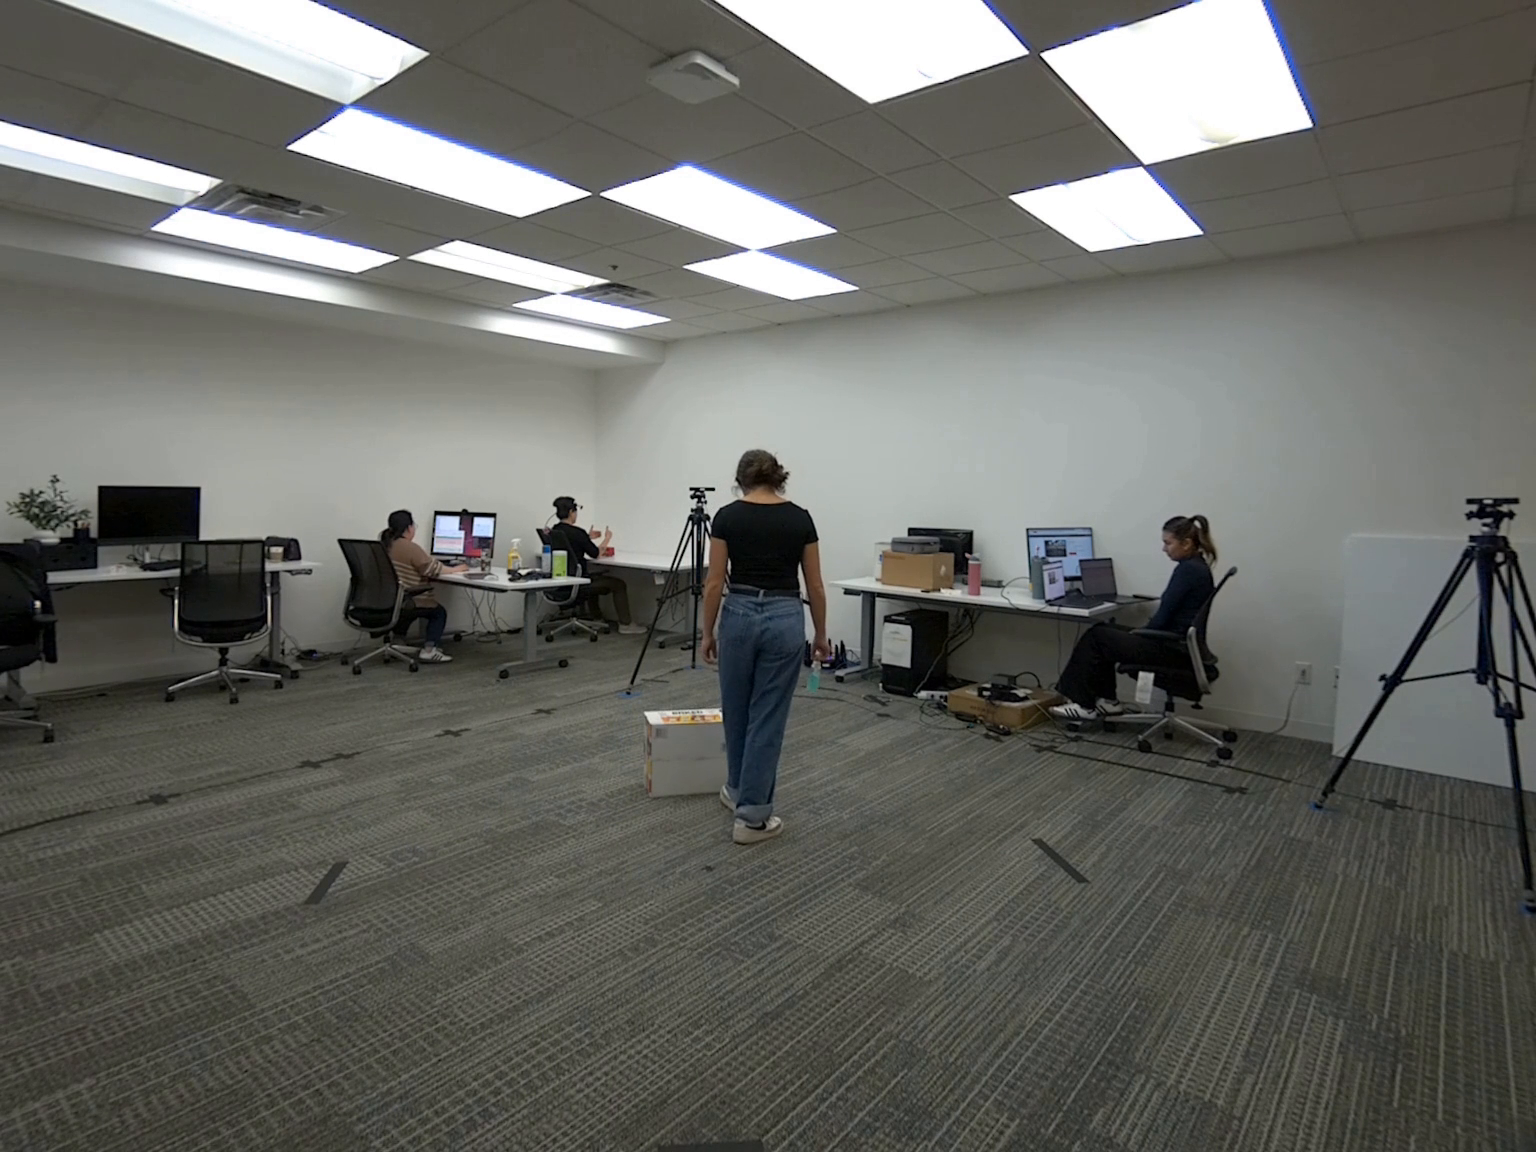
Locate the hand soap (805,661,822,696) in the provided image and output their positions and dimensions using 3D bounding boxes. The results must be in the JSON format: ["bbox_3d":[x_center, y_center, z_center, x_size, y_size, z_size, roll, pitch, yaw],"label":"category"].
[{"bbox_3d":[0.191,0.402,3.600,0.043,0.167,0.086,1,10,-9],"label":"hand soap"}]
